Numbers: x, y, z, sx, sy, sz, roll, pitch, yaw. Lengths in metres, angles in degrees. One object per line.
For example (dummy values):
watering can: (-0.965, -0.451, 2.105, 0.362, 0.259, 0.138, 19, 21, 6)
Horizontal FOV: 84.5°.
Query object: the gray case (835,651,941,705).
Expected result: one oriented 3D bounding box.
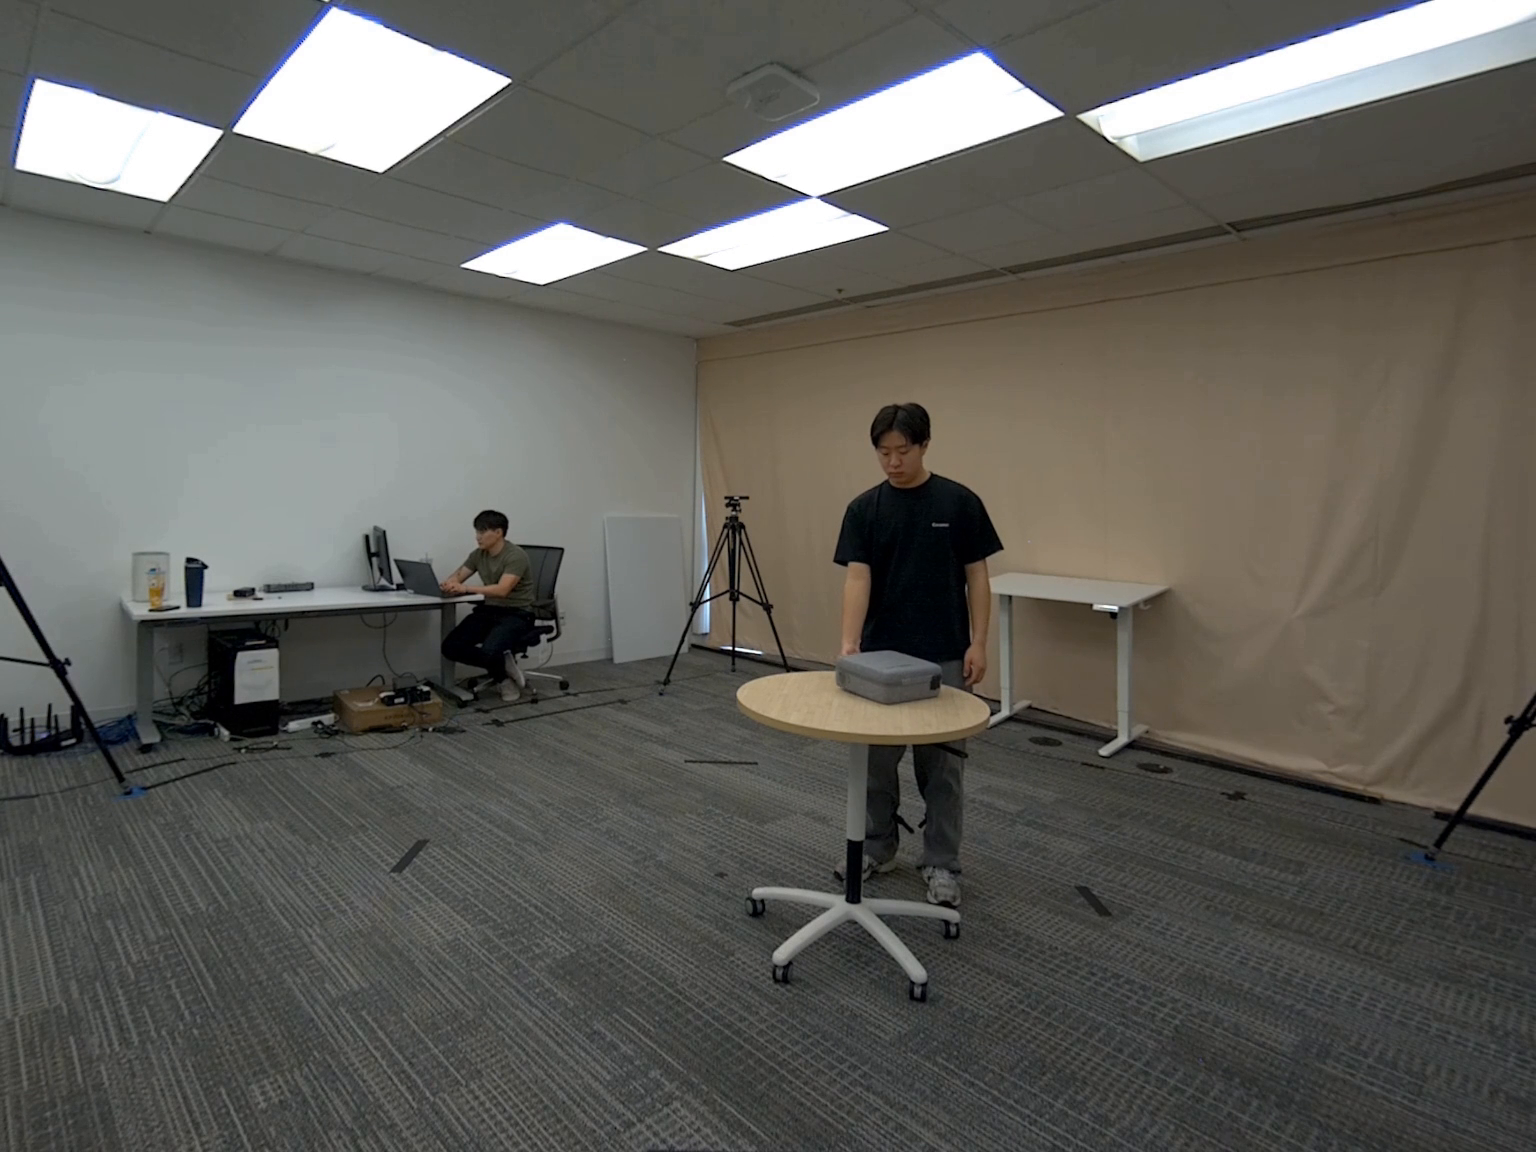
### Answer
gray case: (0.363, 0.317, 2.674, 0.257, 0.102, 0.294, -2, 8, -34)
